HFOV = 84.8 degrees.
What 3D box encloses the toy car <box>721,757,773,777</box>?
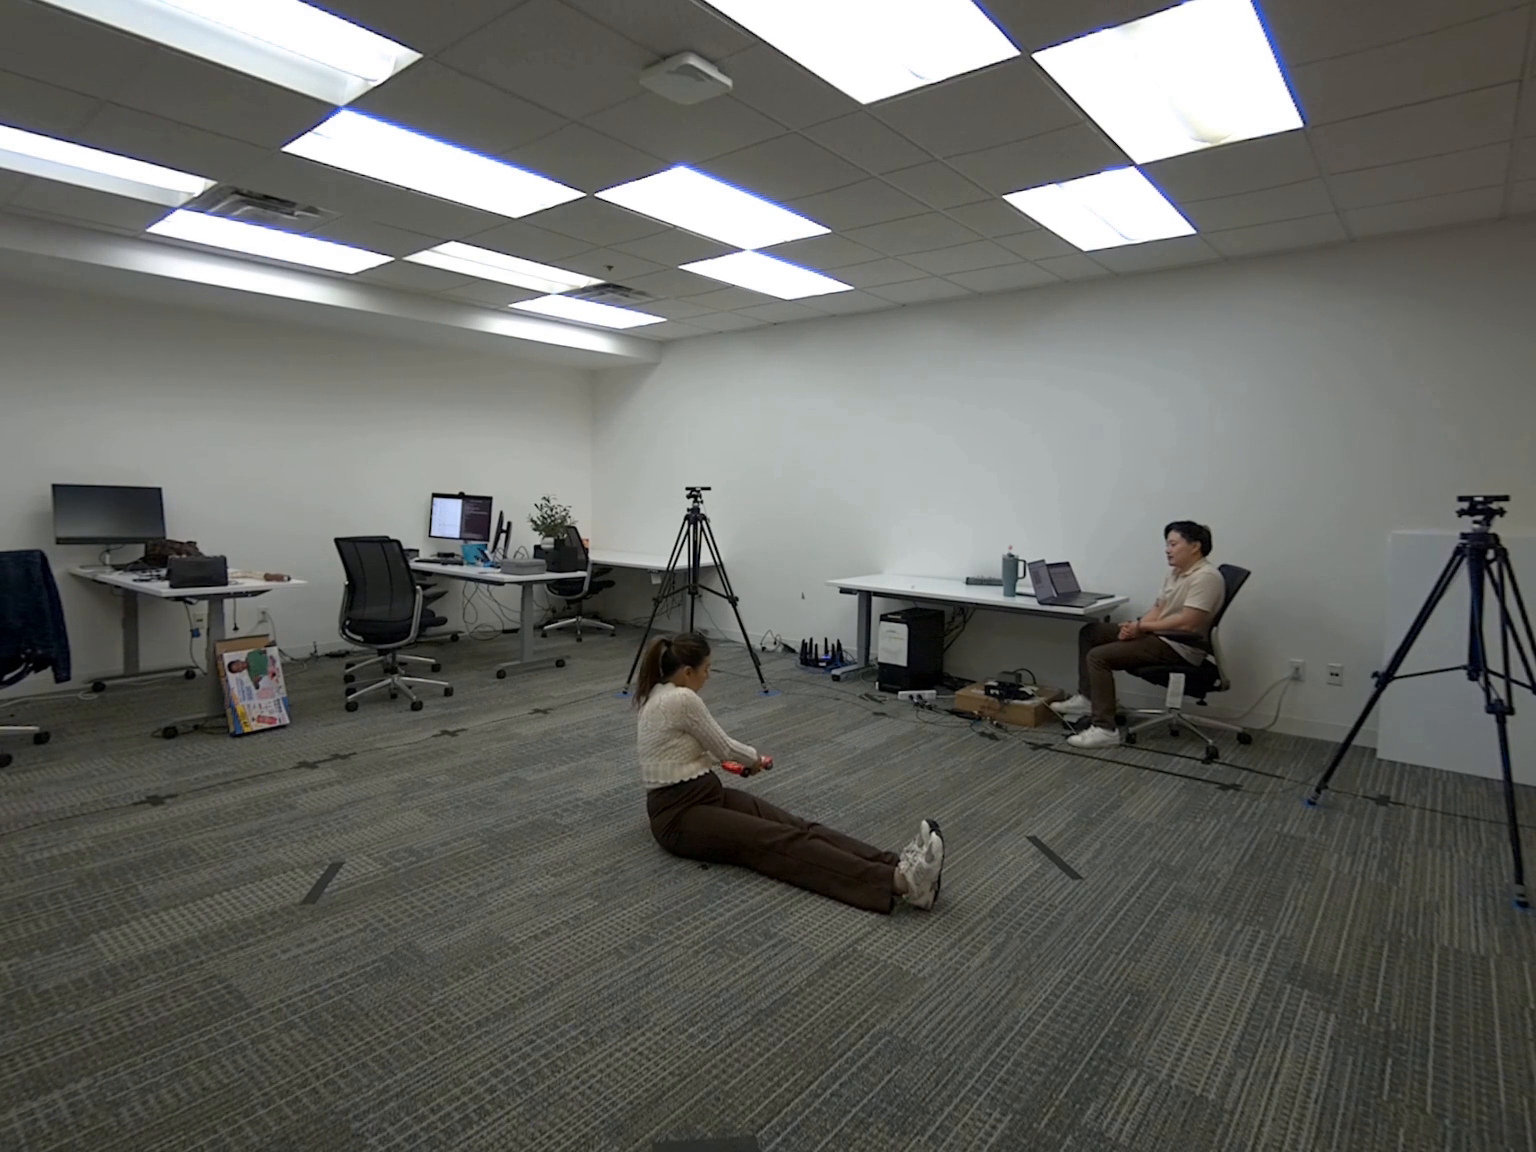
[{"bbox_3d":[-0.103,0.834,3.763,0.246,0.083,0.135,8,-2,-41],"label":"toy car"}]
